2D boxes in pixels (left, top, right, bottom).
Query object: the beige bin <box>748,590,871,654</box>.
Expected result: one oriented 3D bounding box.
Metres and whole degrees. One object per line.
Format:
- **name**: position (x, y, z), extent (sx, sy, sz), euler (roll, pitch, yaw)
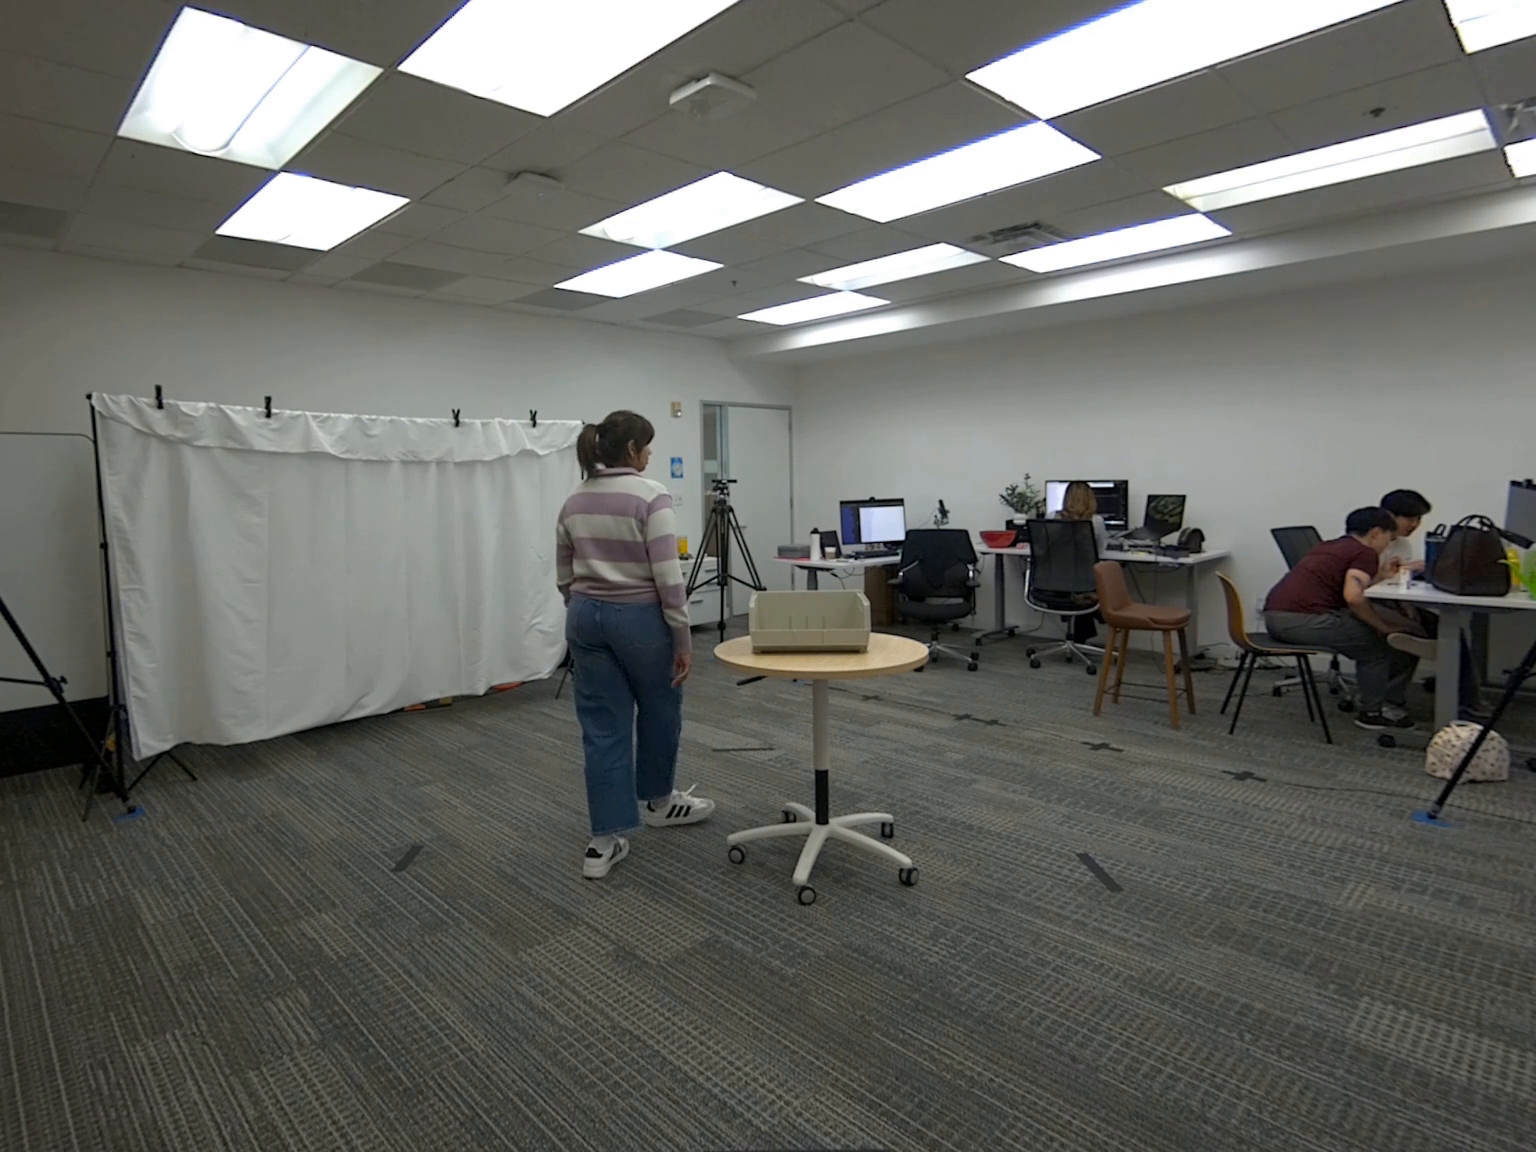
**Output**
- **beige bin**: position (0.150, 0.167, 3.125), extent (0.424, 0.188, 0.377), euler (-1, 4, 4)
